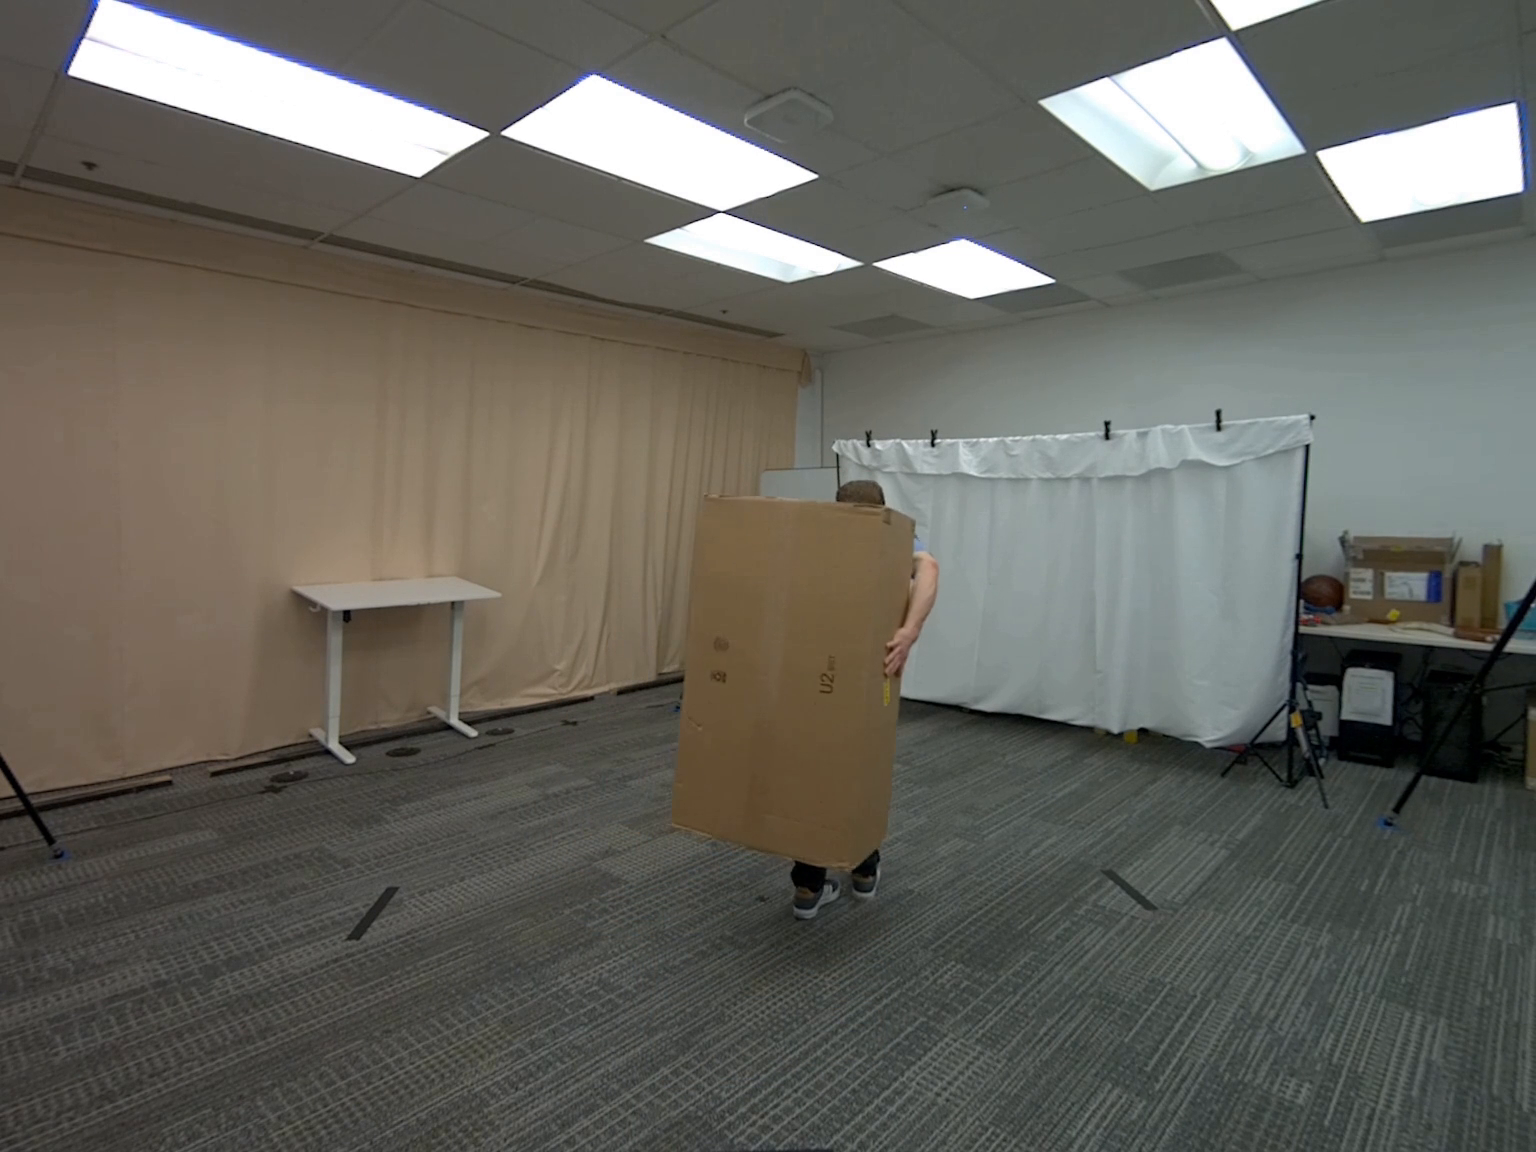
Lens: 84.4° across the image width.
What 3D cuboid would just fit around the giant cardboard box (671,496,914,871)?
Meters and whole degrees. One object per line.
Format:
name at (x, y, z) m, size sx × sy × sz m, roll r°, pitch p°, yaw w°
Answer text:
giant cardboard box at (0.089, 0.295, 2.640) m, size 0.599 × 1.028 × 0.435 m, roll 5°, pitch -2°, yaw 24°
